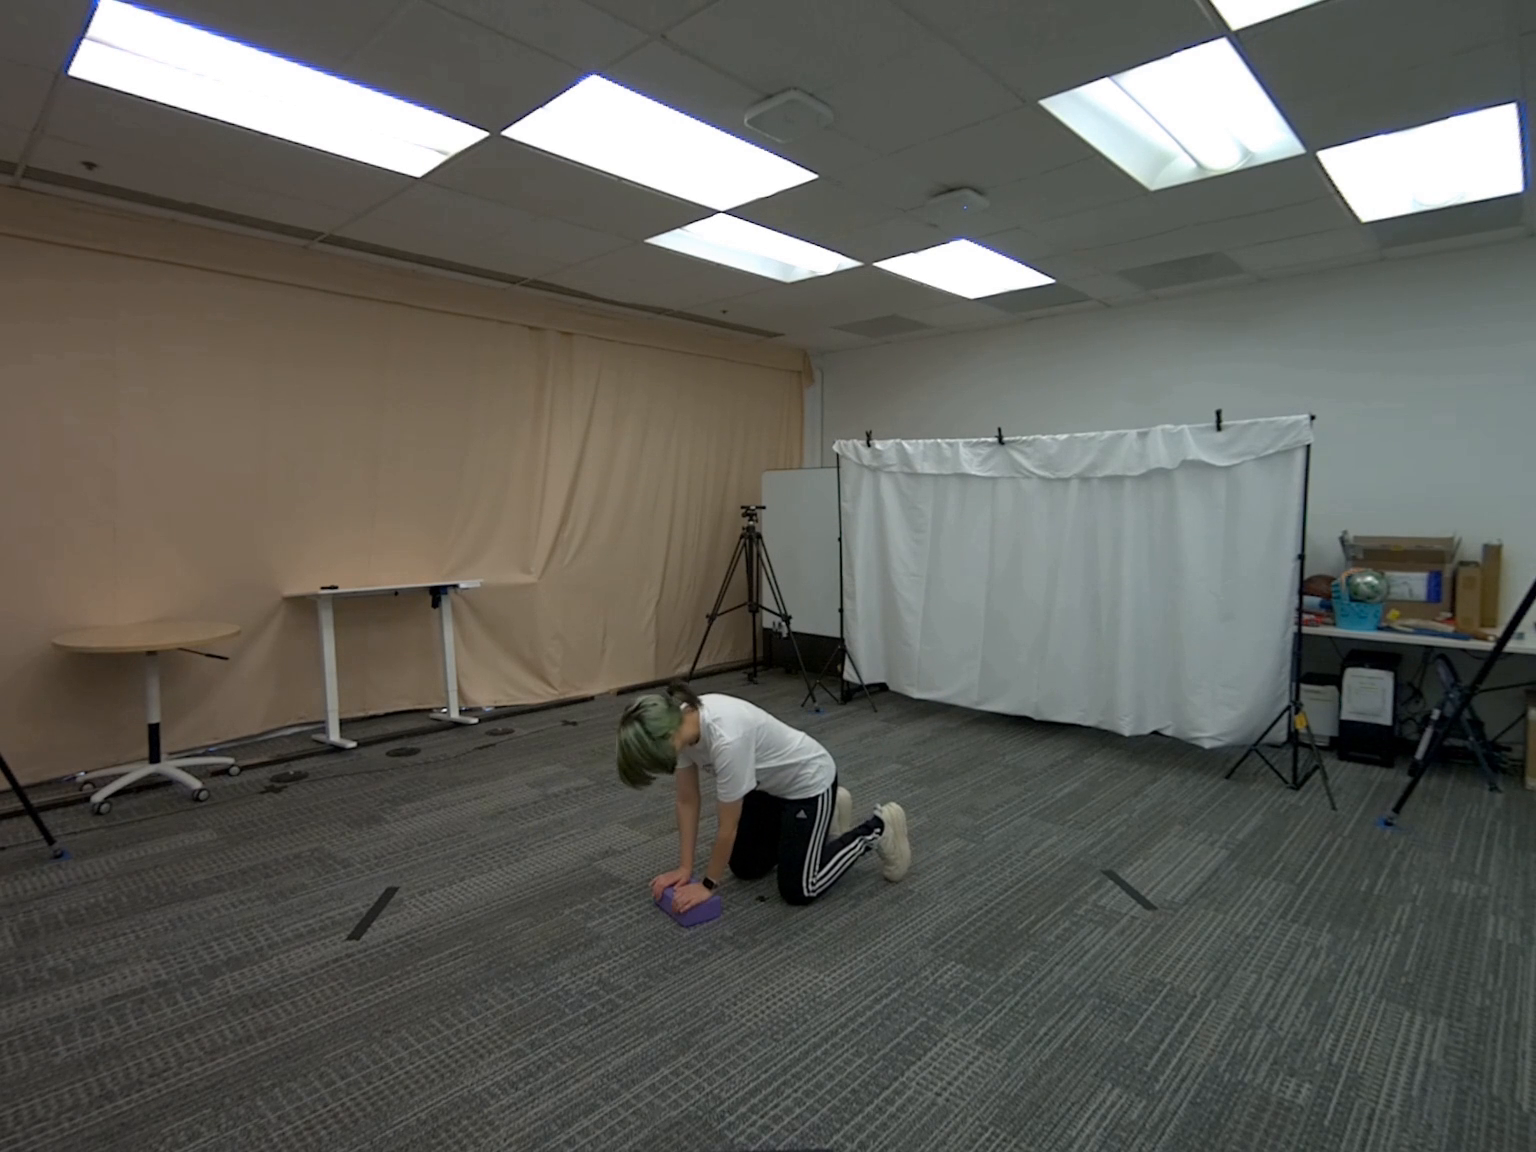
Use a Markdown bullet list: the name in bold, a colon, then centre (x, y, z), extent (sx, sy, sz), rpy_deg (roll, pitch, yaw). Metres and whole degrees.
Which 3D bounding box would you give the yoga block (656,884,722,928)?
- **yoga block**: centre (-0.278, 1.116, 2.903), extent (0.145, 0.076, 0.236), rpy_deg (-7, 8, -33)
